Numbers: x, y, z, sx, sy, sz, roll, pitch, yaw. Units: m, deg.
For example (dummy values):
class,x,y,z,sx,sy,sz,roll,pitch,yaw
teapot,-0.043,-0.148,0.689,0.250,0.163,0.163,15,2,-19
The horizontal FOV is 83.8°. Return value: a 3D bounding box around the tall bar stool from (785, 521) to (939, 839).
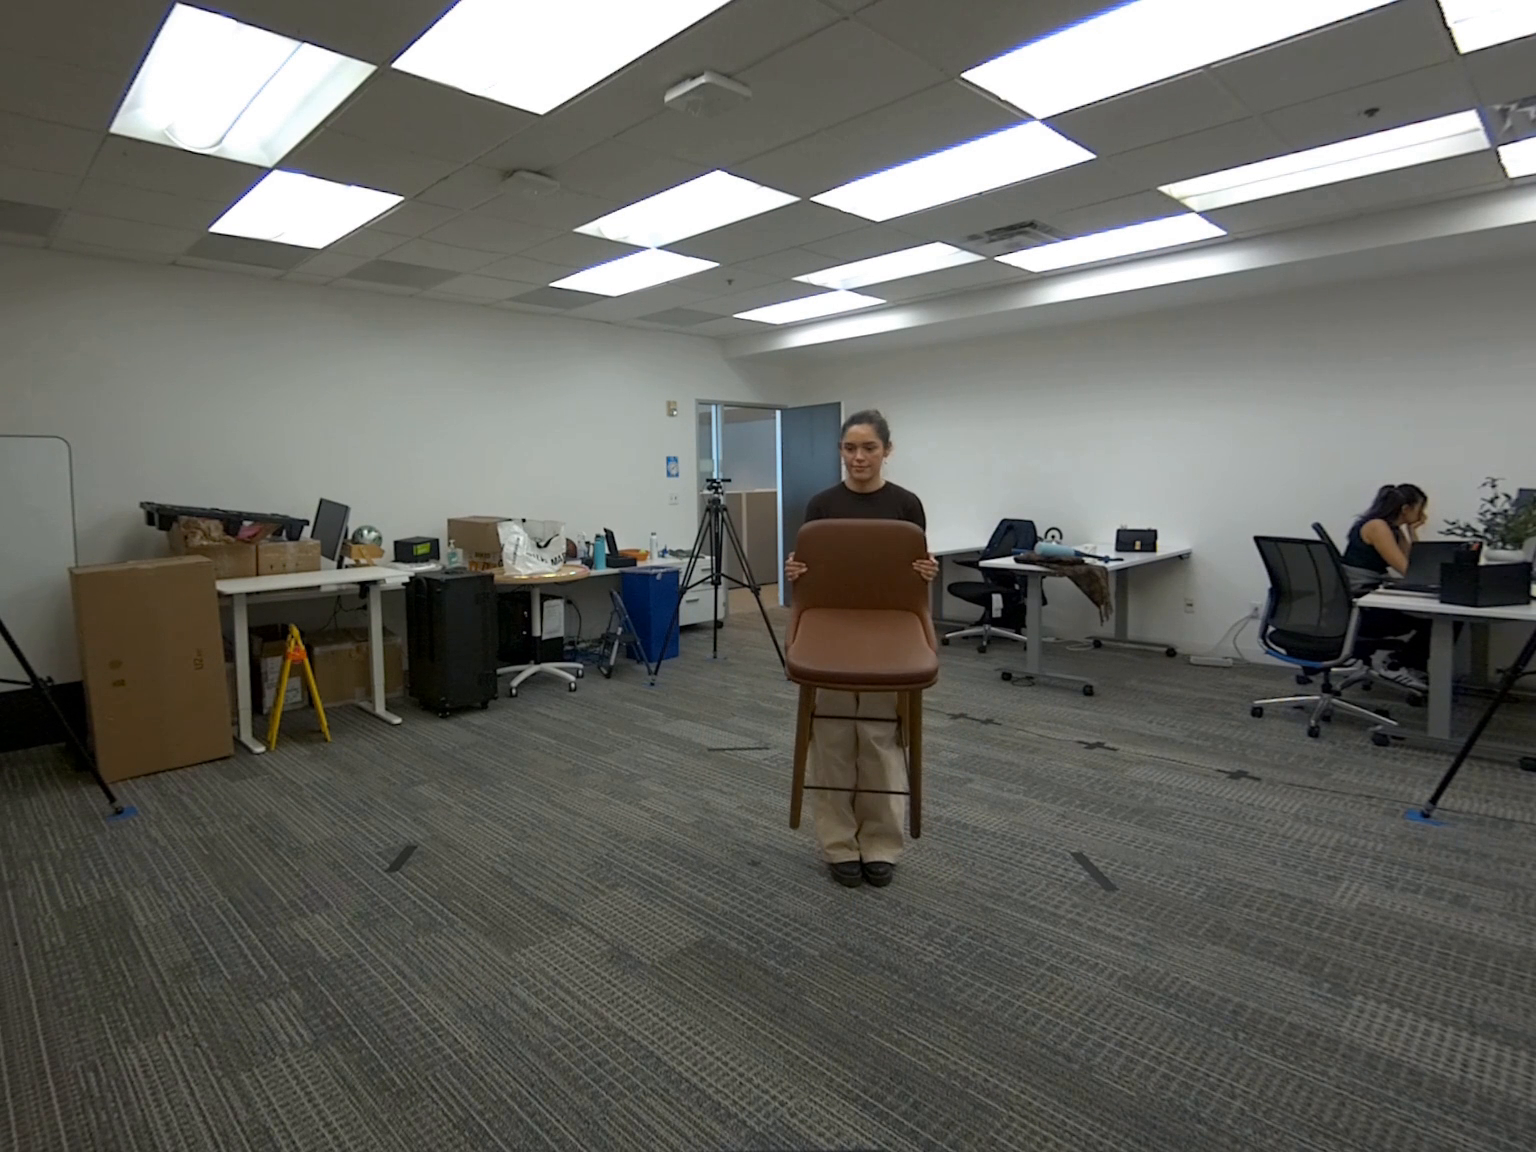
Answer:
class,x,y,z,sx,sy,sz,roll,pitch,yaw
tall bar stool,0.293,0.327,2.693,0.460,0.871,0.474,2,25,6
